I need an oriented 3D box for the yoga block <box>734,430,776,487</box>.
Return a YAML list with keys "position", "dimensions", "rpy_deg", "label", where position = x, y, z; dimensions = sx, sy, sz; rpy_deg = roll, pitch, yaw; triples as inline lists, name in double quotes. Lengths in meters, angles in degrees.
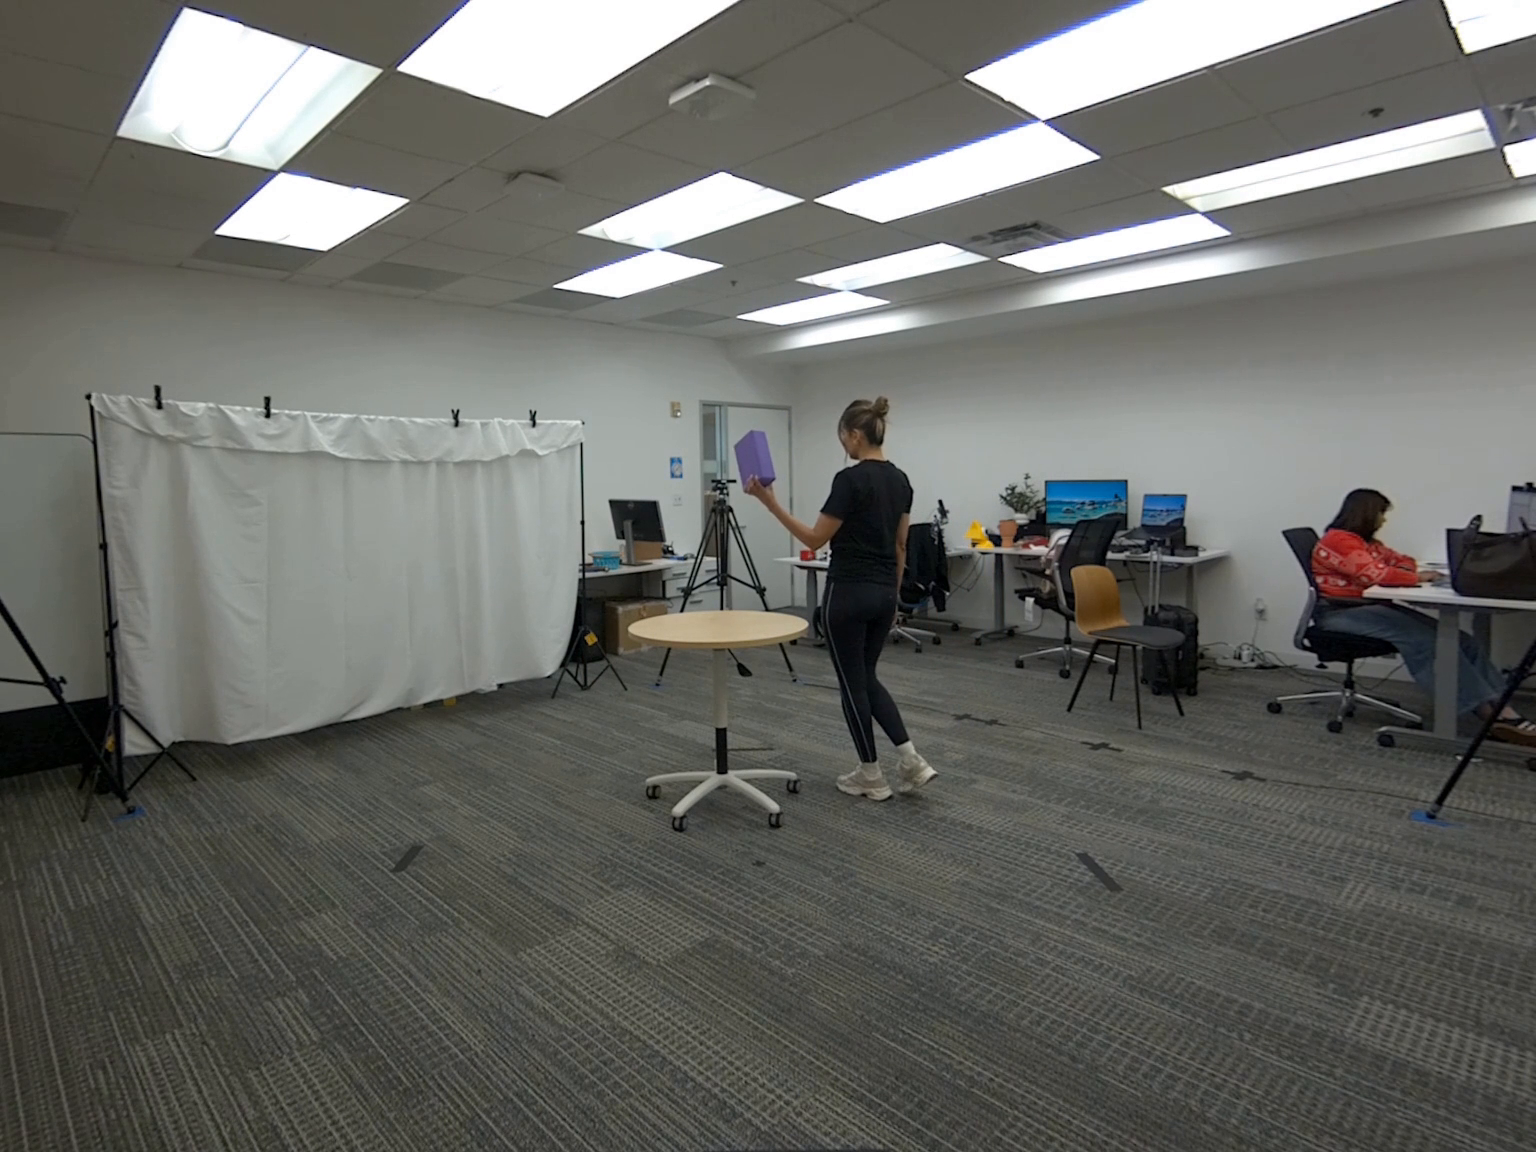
- position: [-0.052, -0.471, 3.520]
  dimensions: [0.074, 0.234, 0.150]
  rpy_deg: [0, -23, -35]
  label: "yoga block"
